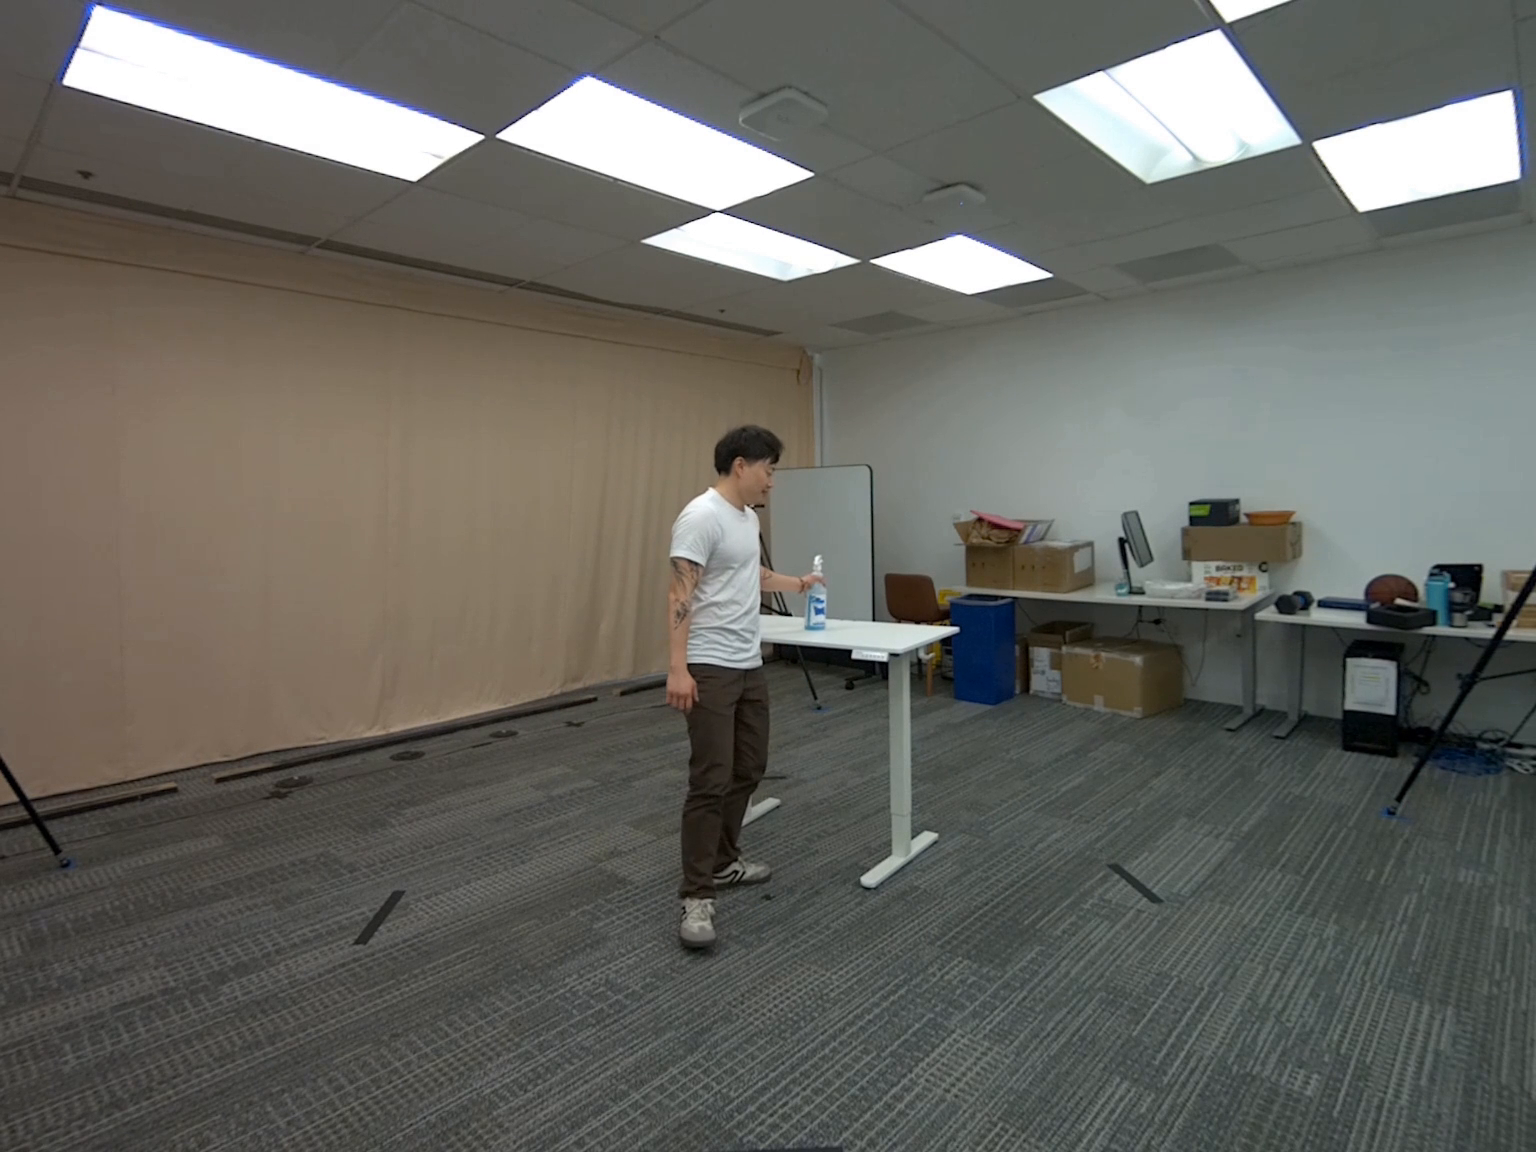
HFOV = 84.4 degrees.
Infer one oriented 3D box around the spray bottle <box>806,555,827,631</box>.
[{"bbox_3d":[0.206,0.064,3.415,0.090,0.296,0.087,7,6,41],"label":"spray bottle"}]
